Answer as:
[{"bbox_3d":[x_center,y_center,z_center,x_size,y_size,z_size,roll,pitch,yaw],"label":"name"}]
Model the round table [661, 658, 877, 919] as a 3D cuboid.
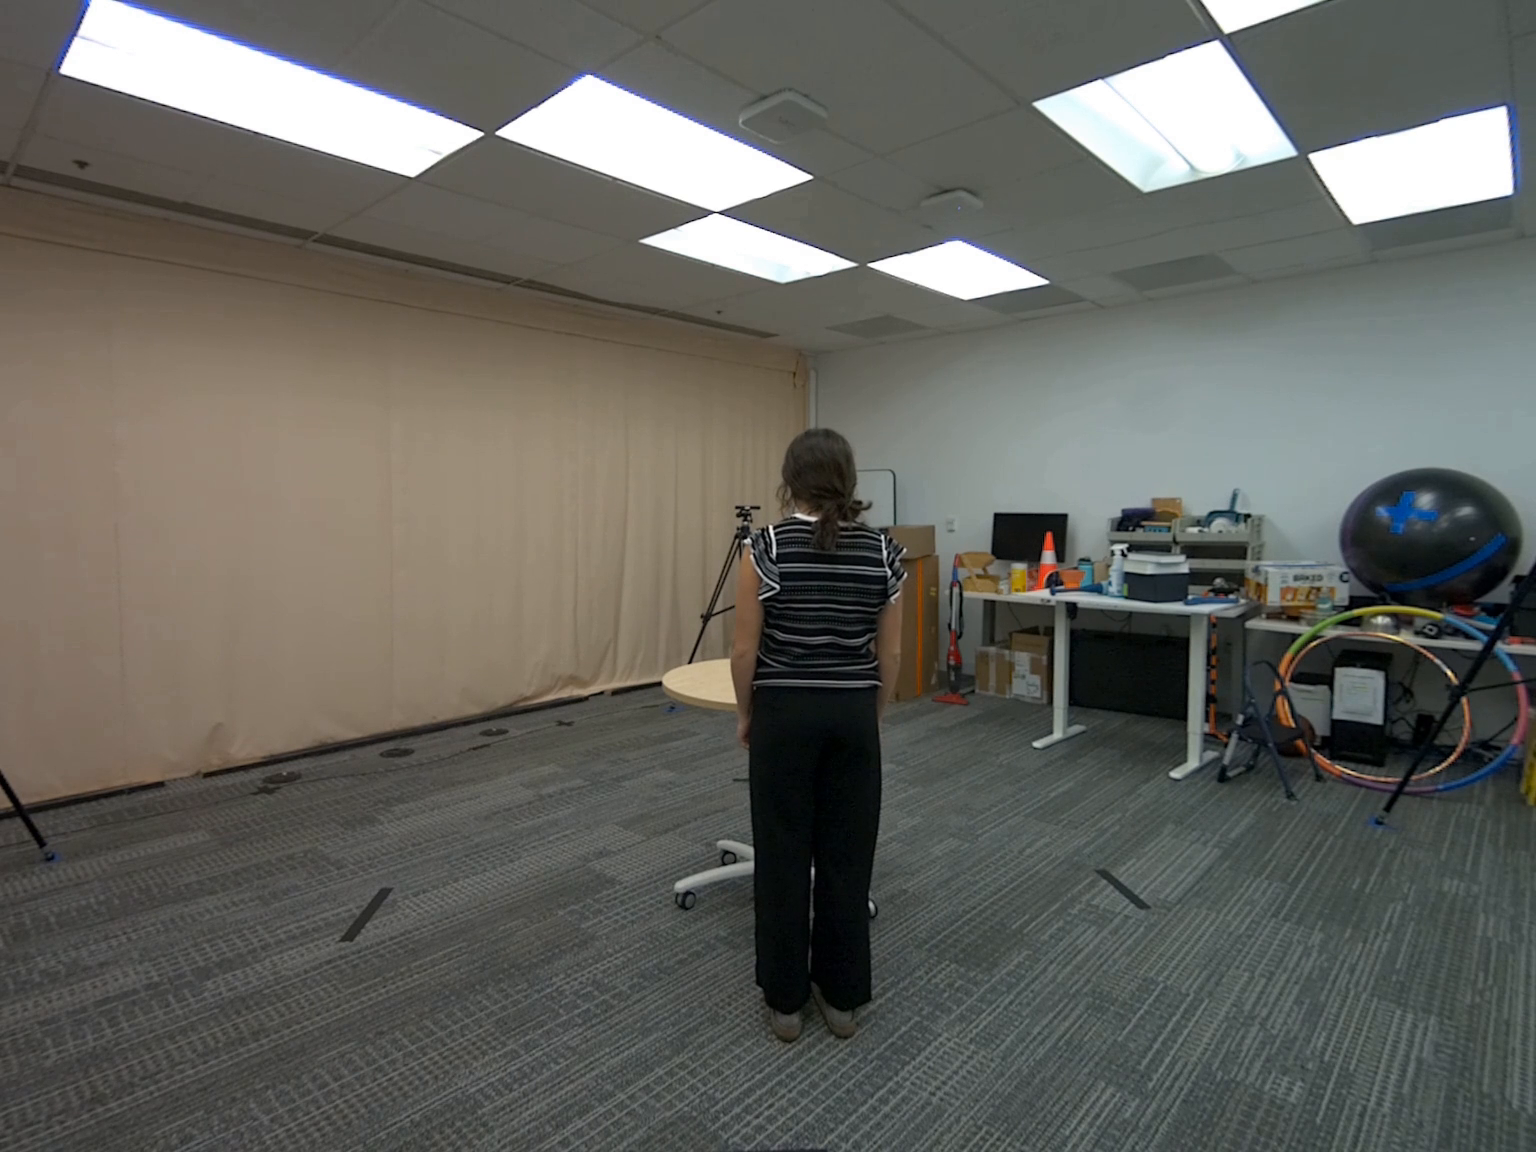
[{"bbox_3d":[0.016,0.749,2.955,0.784,0.784,0.788,0,4,-2],"label":"round table"}]
